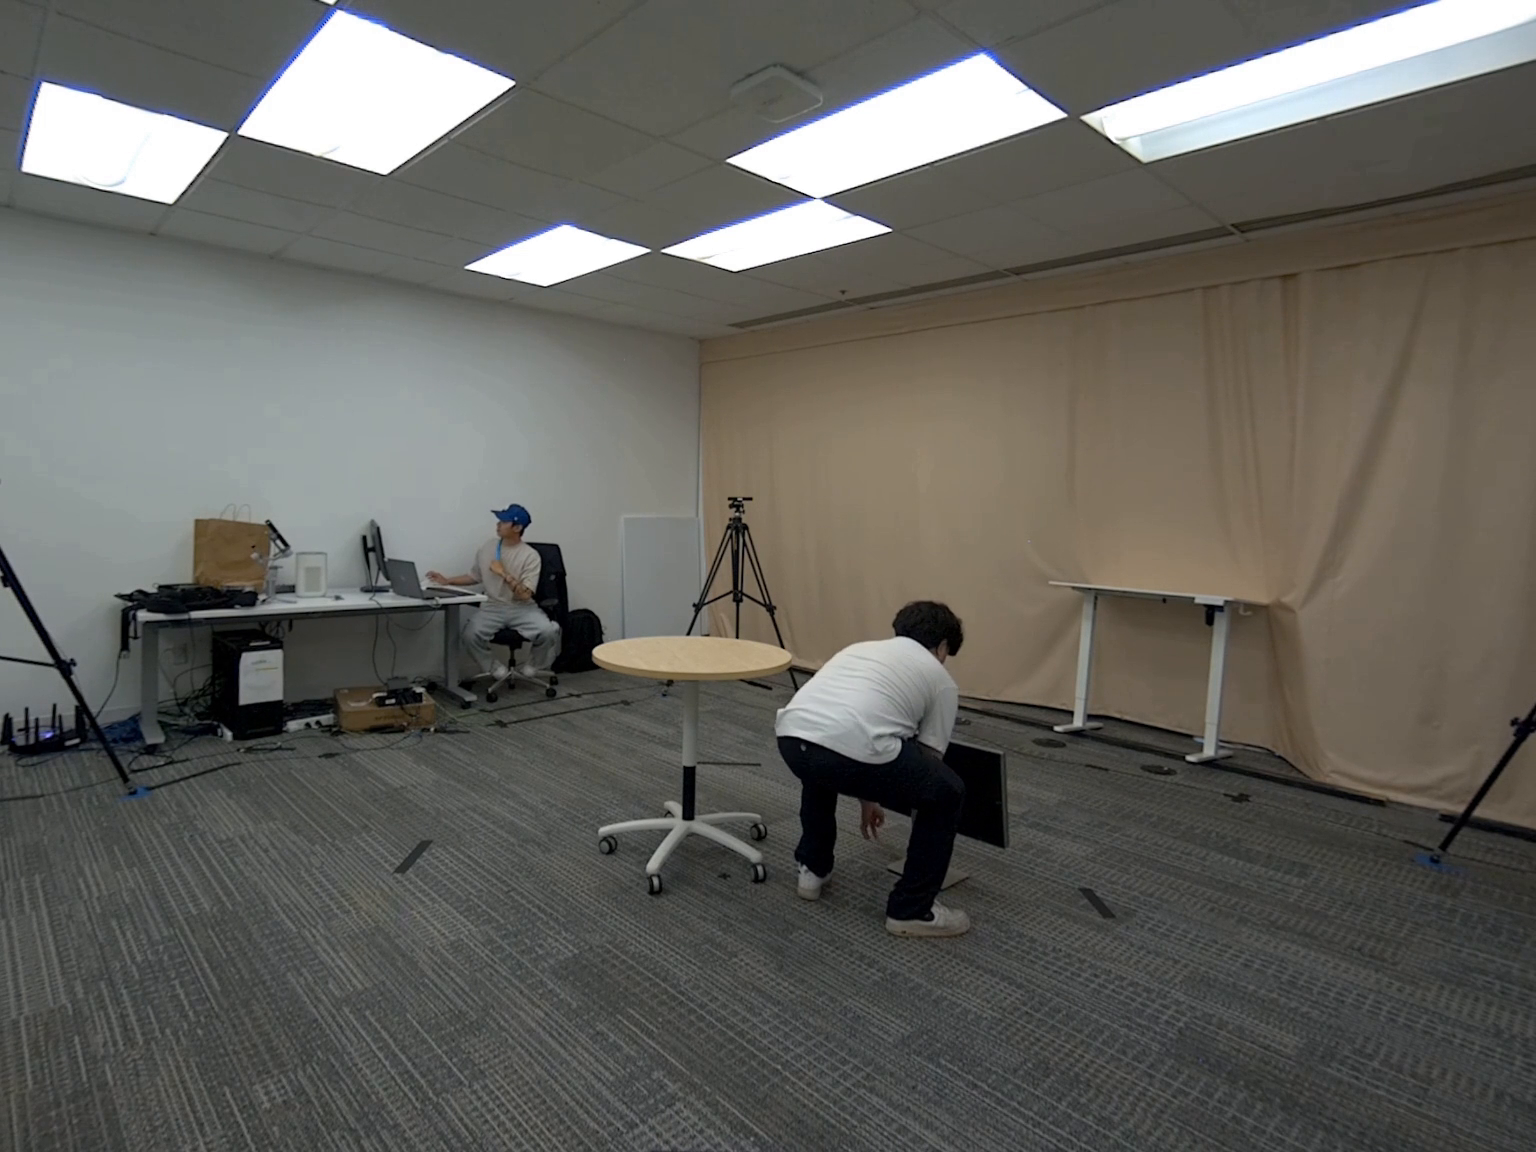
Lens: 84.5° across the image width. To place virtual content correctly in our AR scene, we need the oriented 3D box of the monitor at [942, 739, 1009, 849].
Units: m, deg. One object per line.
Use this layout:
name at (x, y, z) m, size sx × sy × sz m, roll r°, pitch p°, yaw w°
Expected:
monitor at (0.587, 0.868, 3.147) m, size 0.205 × 0.552 × 0.580 m, roll -5°, pitch 8°, yaw -44°
